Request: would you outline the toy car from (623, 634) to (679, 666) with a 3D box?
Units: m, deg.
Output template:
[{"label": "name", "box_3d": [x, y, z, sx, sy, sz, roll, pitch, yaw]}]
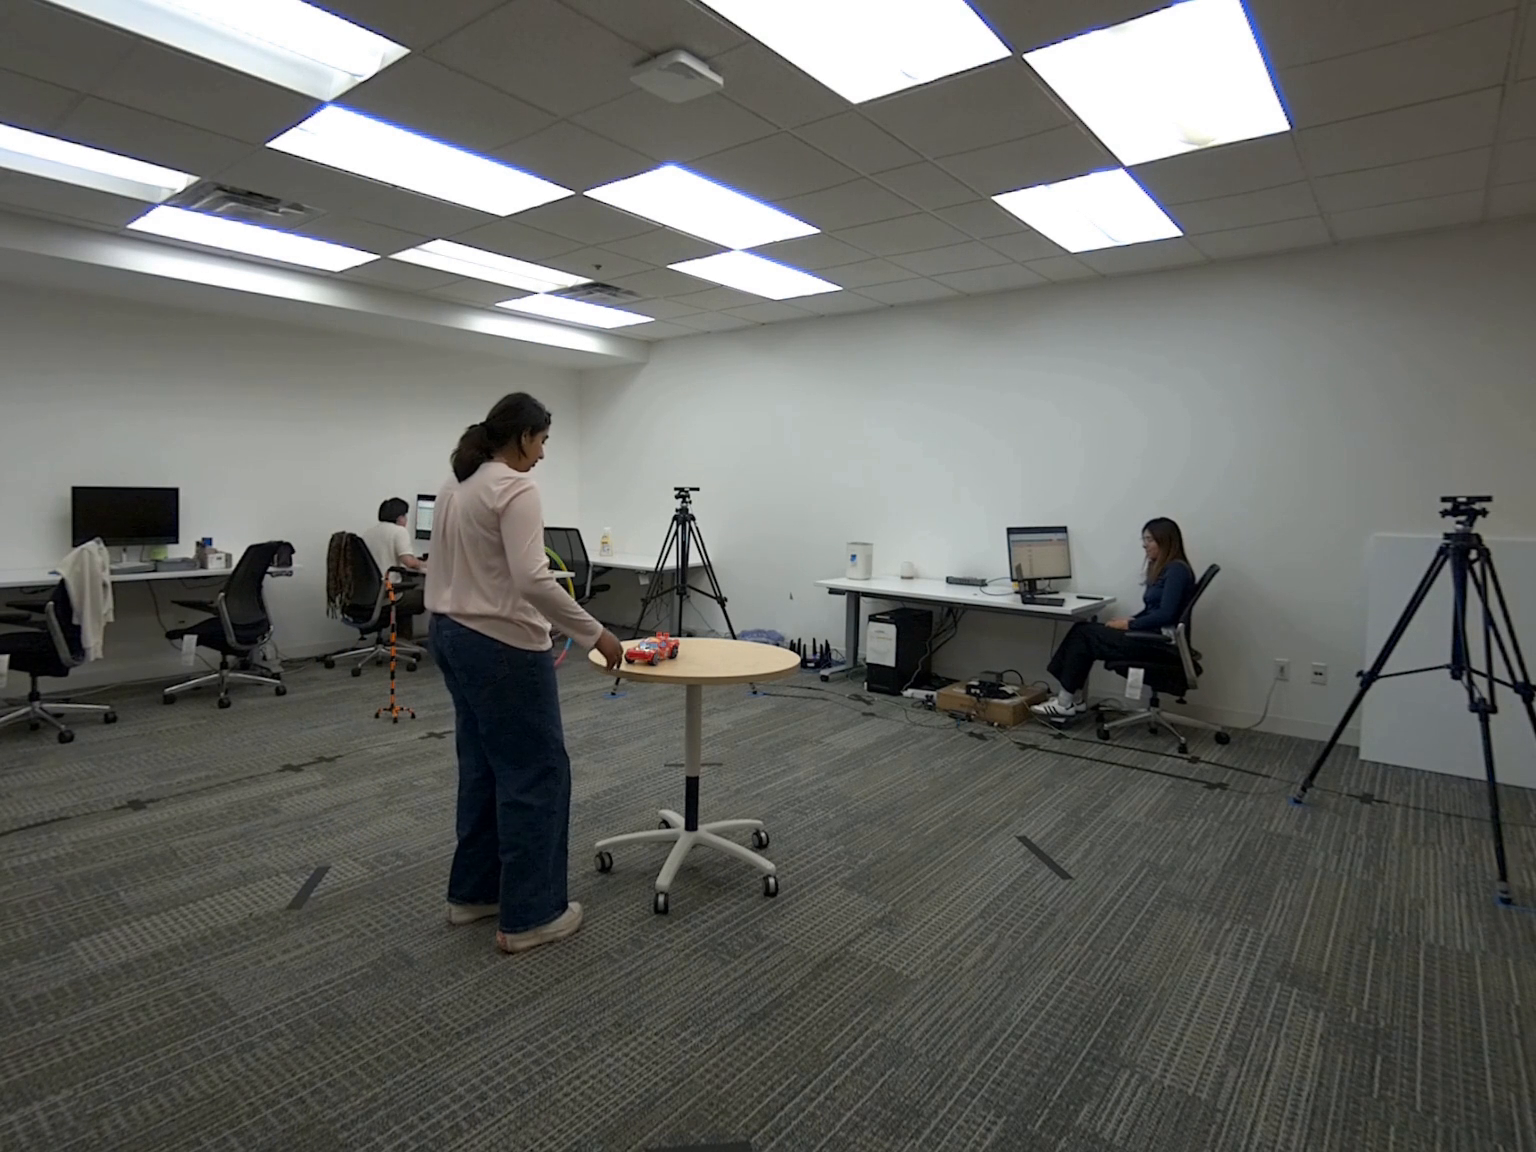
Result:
[{"label": "toy car", "box_3d": [-0.401, 0.262, 2.988, 0.133, 0.082, 0.253, 4, 17, 18]}]
